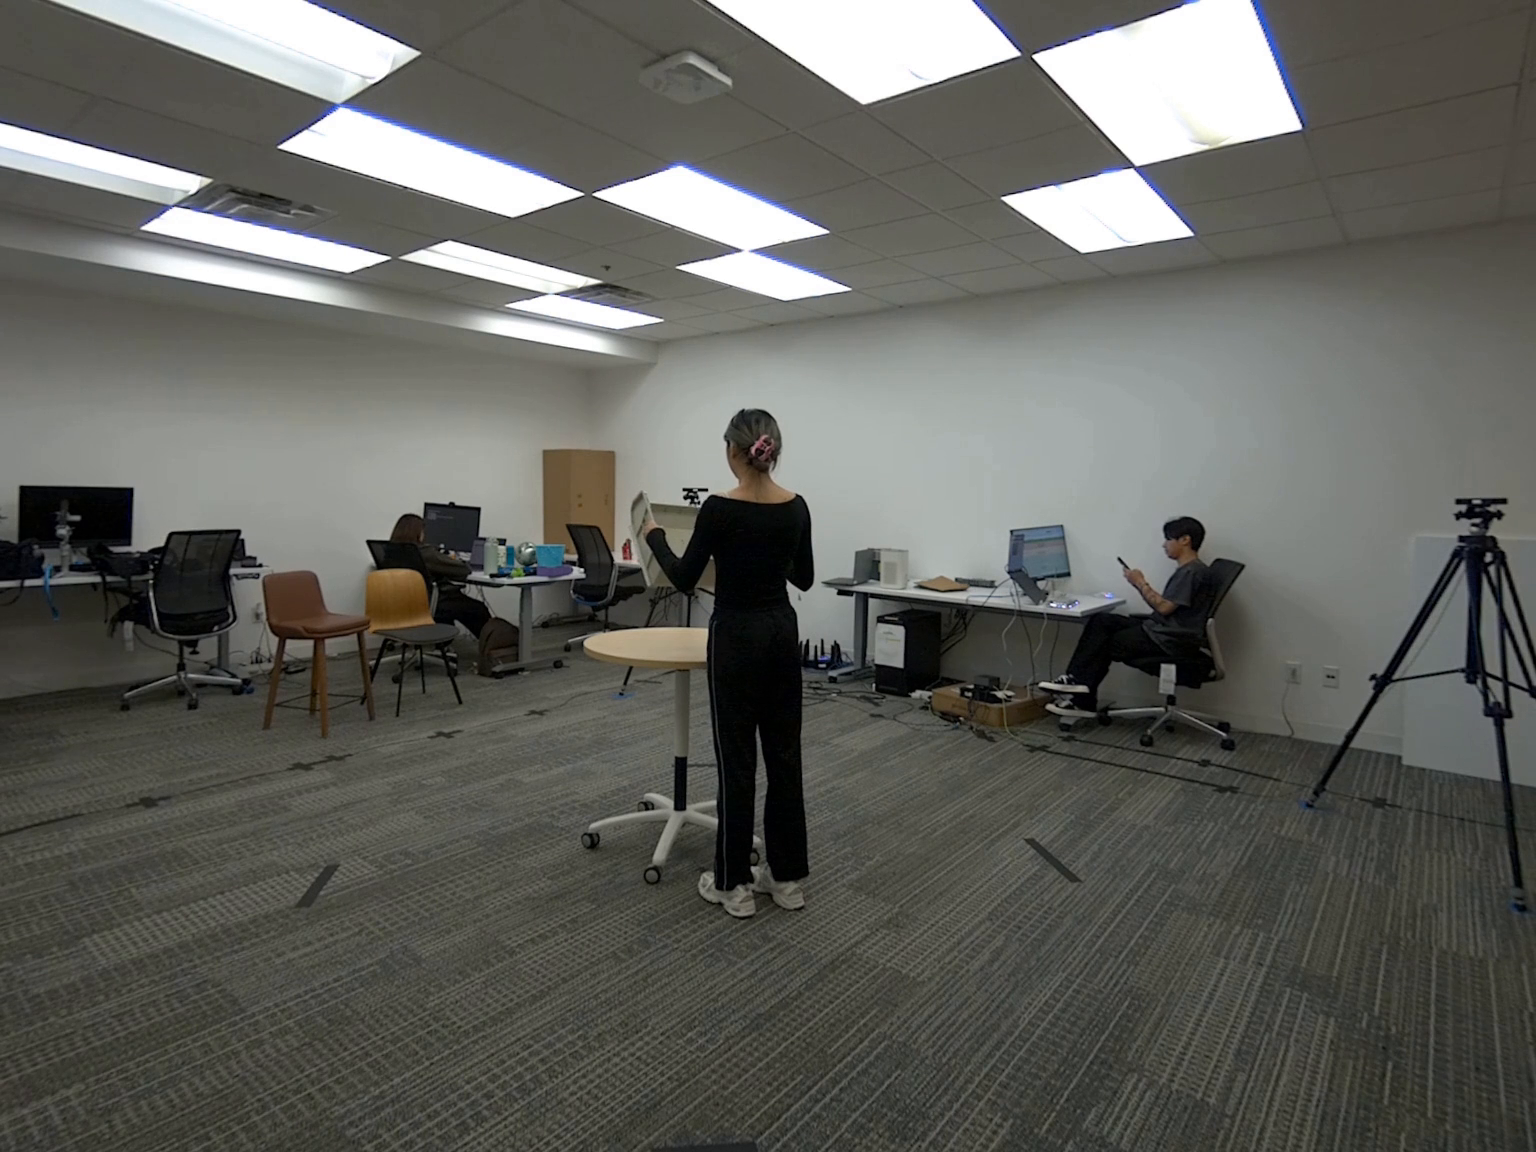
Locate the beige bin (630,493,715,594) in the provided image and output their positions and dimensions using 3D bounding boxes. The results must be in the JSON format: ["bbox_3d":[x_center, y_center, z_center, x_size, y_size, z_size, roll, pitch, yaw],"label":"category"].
[{"bbox_3d":[-0.290,-0.140,3.221,0.410,0.187,0.392,3,45,-30],"label":"beige bin"}]
